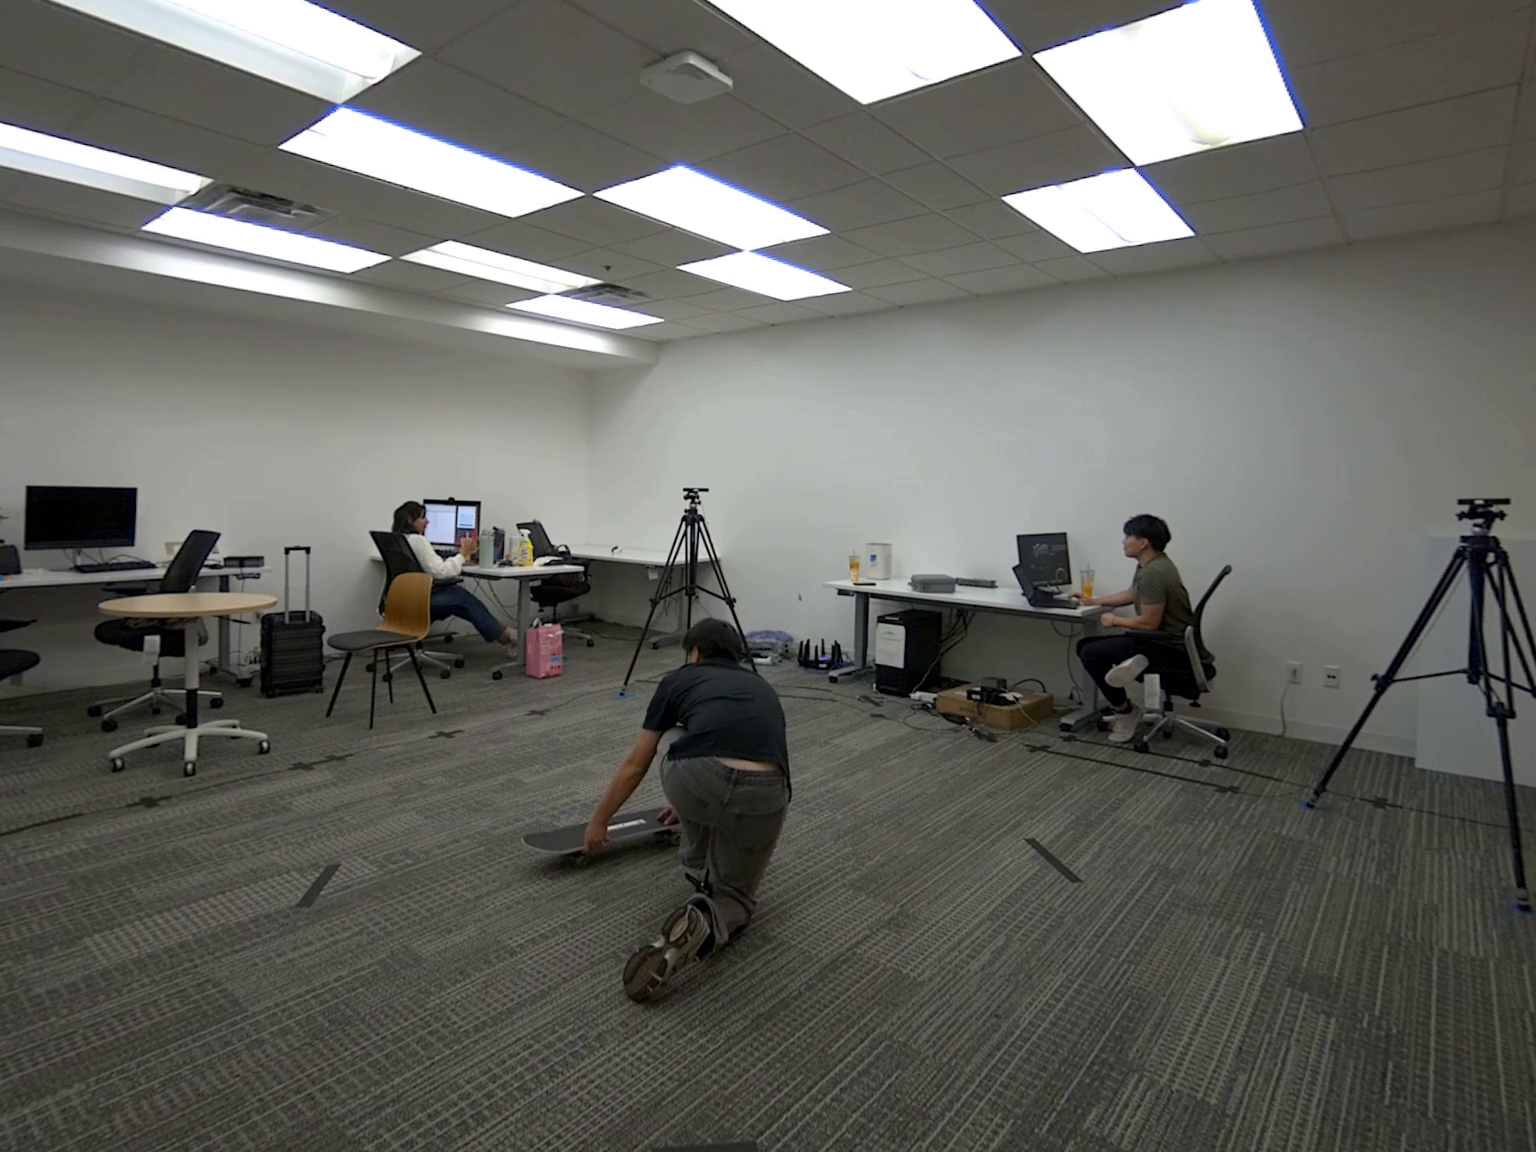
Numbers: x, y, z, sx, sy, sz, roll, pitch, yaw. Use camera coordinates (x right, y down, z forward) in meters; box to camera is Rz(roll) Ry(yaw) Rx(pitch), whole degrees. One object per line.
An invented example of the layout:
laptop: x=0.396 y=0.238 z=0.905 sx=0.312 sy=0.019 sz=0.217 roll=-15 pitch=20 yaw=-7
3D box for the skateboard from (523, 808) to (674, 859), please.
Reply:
skateboard: x=-0.567 y=0.987 z=3.280 sx=0.764 sy=0.110 sz=0.199 roll=-3 pitch=6 yaw=-33
